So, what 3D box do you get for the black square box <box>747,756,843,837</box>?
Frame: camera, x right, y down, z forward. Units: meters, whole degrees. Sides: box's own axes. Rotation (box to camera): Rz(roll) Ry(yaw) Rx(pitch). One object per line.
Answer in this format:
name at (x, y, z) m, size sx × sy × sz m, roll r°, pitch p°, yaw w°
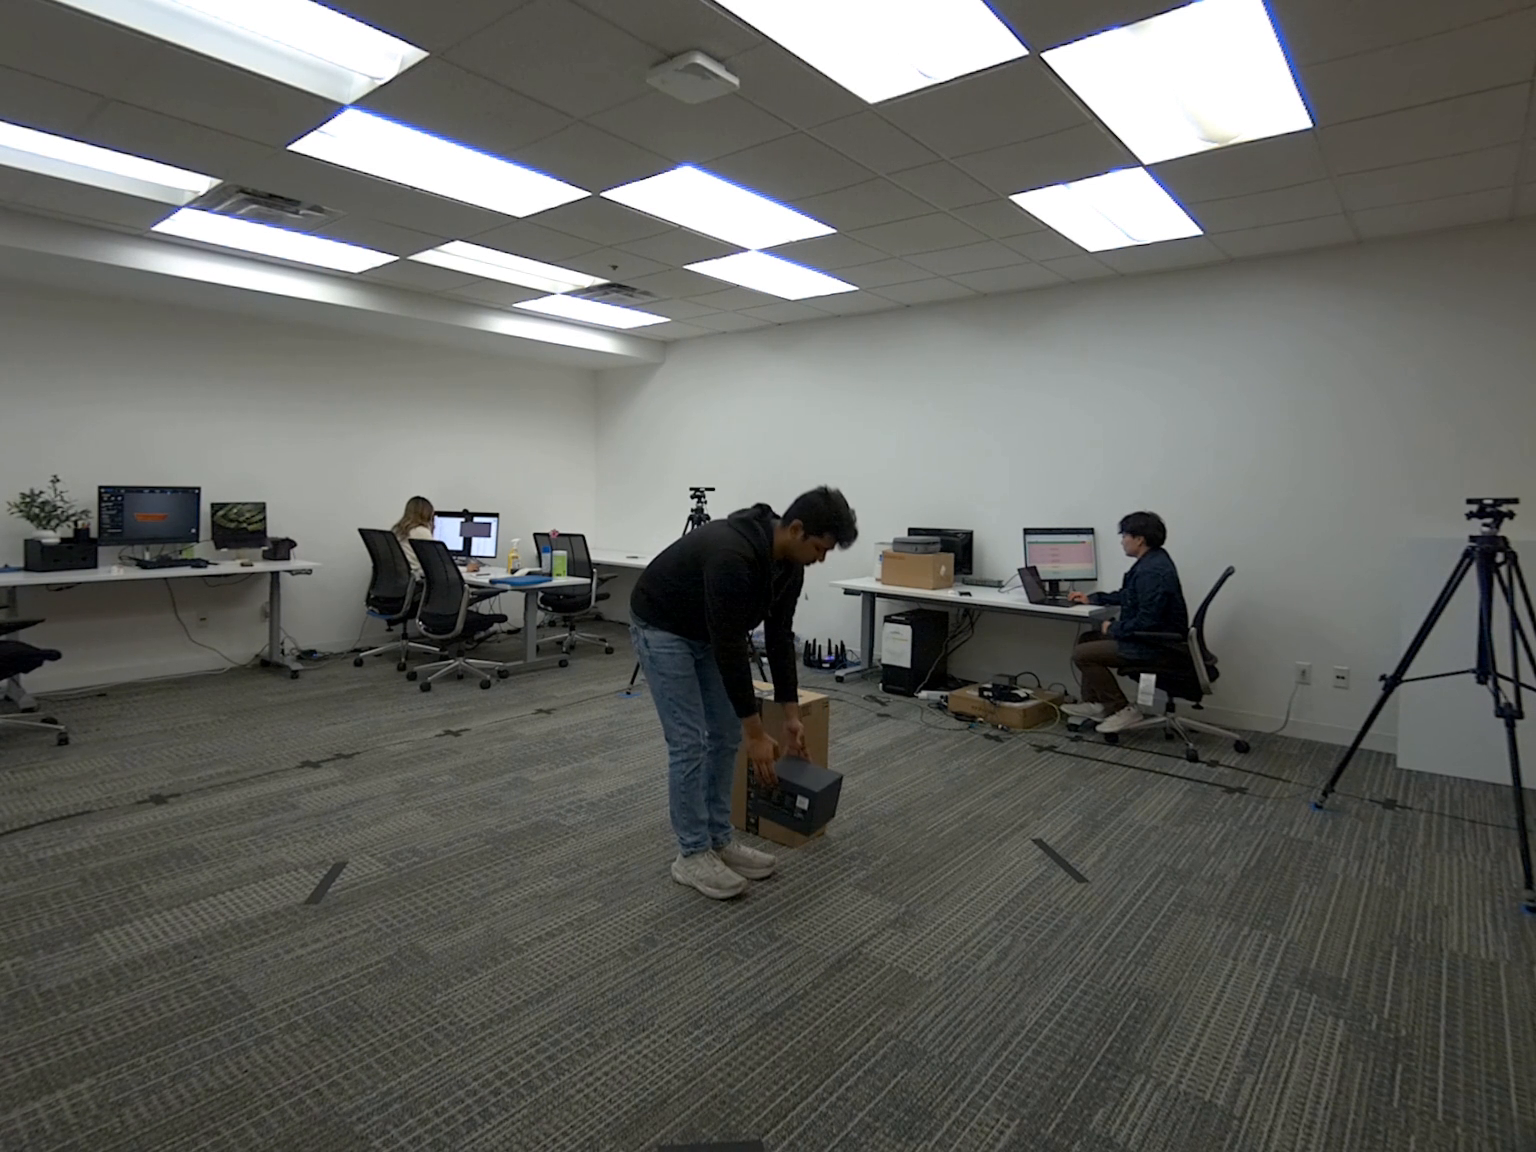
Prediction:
black square box at (0.096, 0.717, 2.853) m, size 0.224 × 0.155 × 0.222 m, roll 14°, pitch 8°, yaw 27°
